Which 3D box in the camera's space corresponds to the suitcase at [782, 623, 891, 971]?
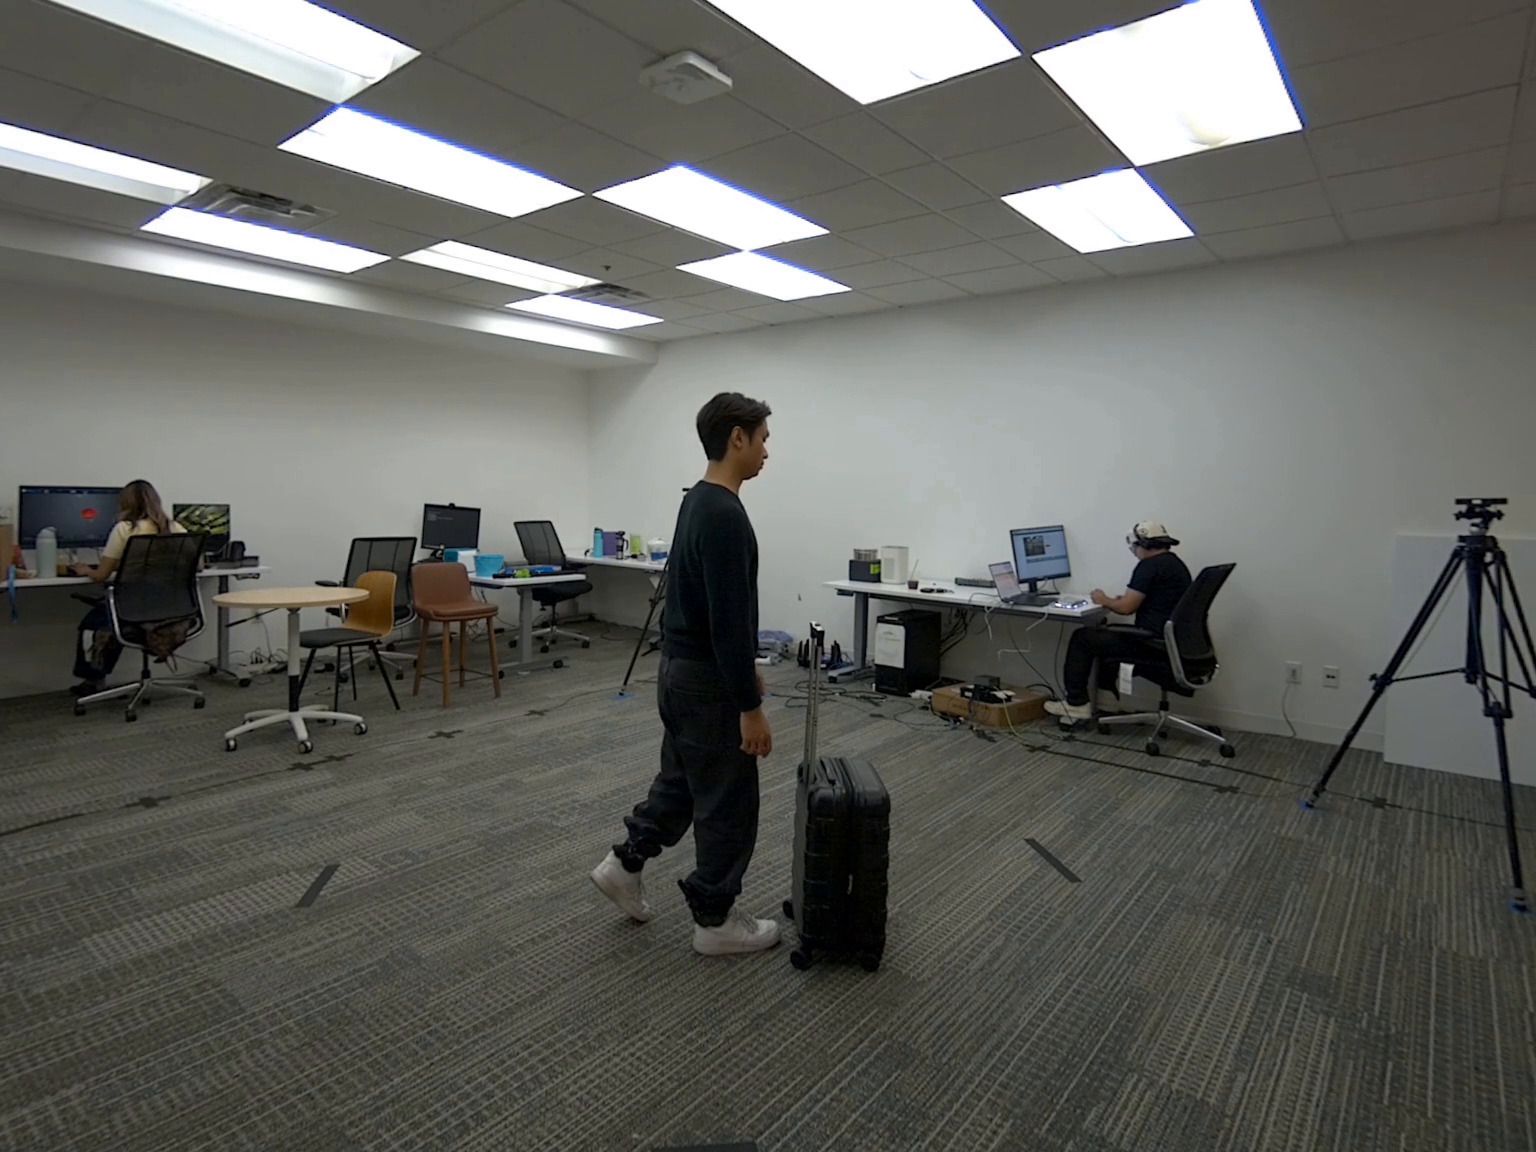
[{"bbox_3d":[0.220,0.654,2.592,0.256,0.976,0.386,3,3,-3],"label":"suitcase"}]
